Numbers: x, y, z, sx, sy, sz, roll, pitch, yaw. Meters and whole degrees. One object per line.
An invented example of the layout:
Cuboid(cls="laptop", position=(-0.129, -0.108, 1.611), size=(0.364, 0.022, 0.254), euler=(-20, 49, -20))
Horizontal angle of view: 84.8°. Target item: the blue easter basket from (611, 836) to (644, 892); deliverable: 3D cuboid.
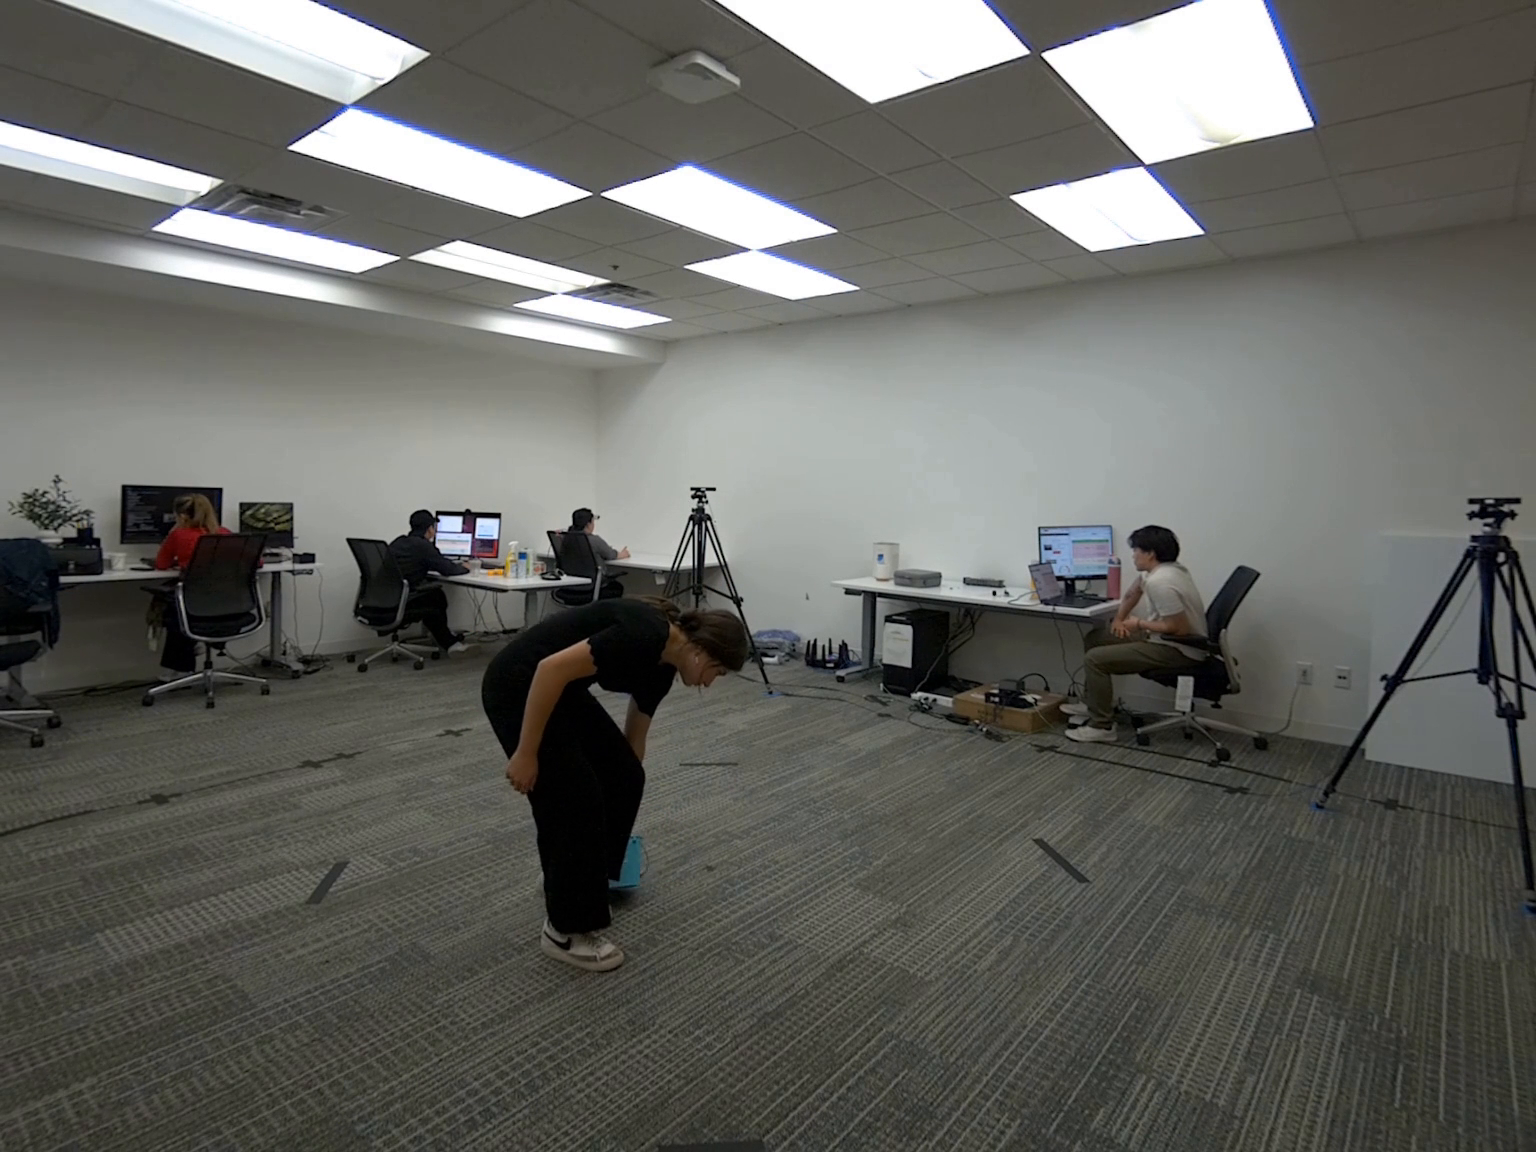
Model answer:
Cuboid(cls="blue easter basket", position=(-0.535, 0.969, 2.879), size=(0.243, 0.159, 0.239), euler=(-5, -21, -4))
